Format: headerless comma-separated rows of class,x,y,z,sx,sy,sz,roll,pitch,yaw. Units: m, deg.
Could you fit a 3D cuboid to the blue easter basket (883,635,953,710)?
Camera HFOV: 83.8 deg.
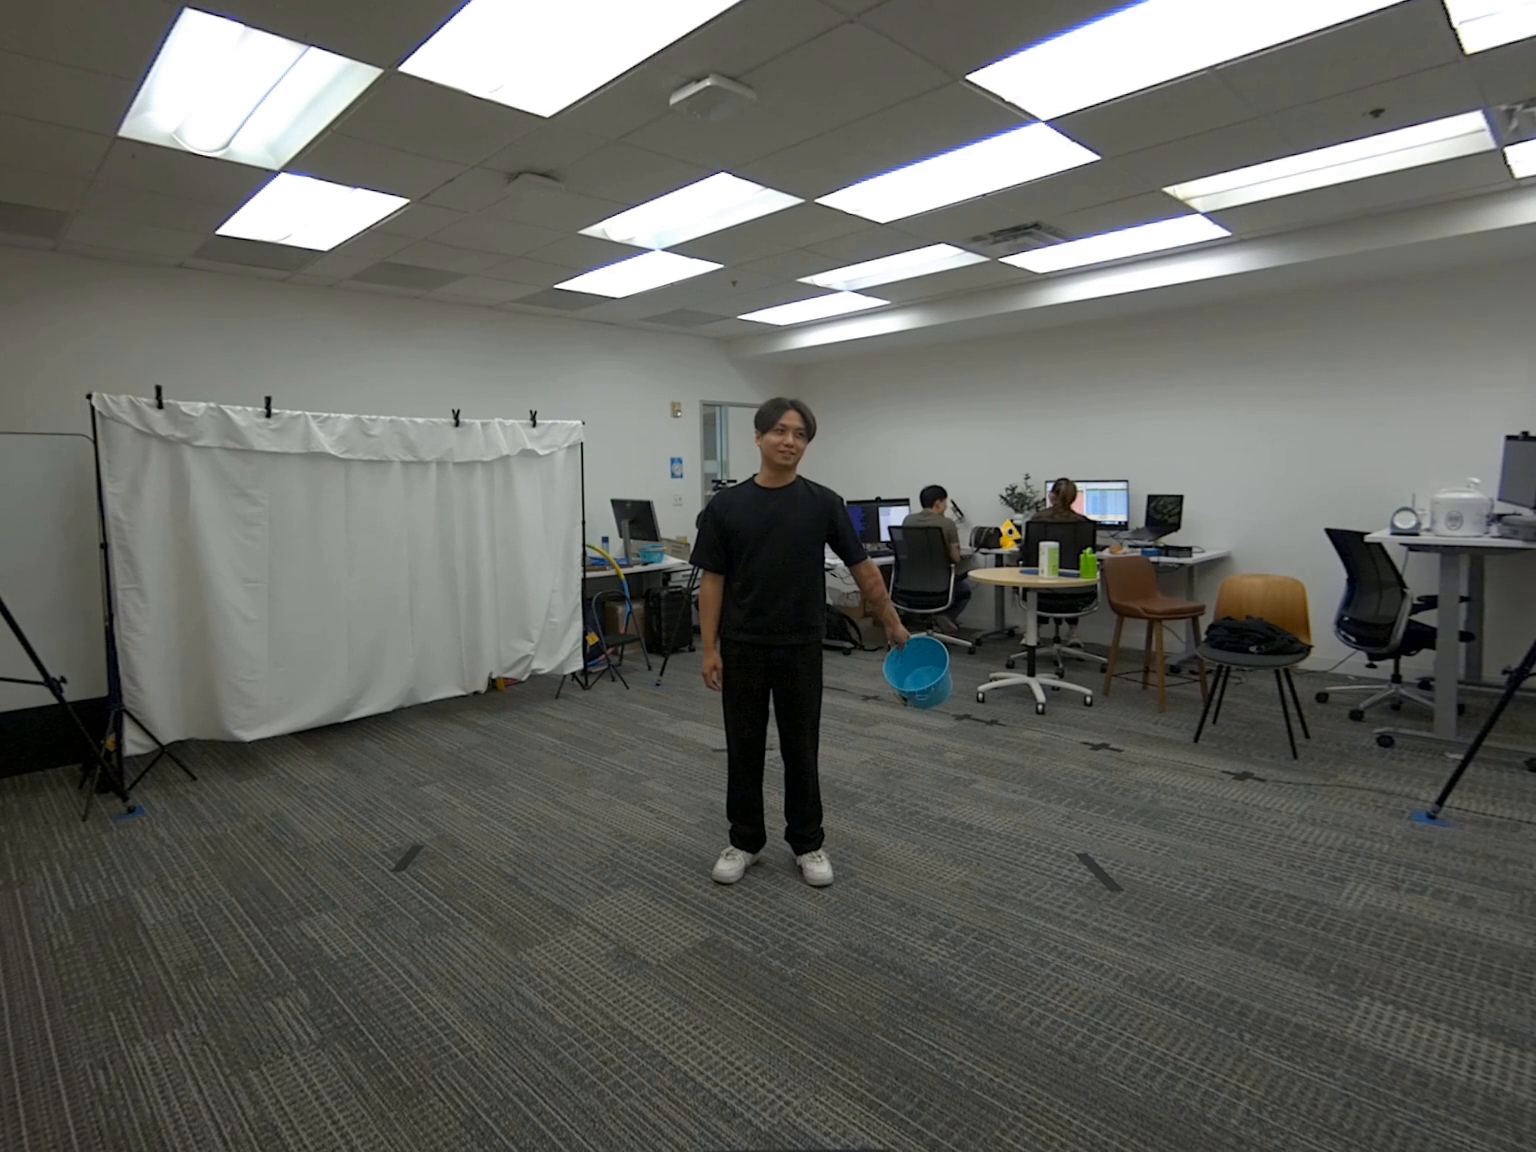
blue easter basket,0.530,0.360,3.023,0.246,0.150,0.250,-19,40,15
